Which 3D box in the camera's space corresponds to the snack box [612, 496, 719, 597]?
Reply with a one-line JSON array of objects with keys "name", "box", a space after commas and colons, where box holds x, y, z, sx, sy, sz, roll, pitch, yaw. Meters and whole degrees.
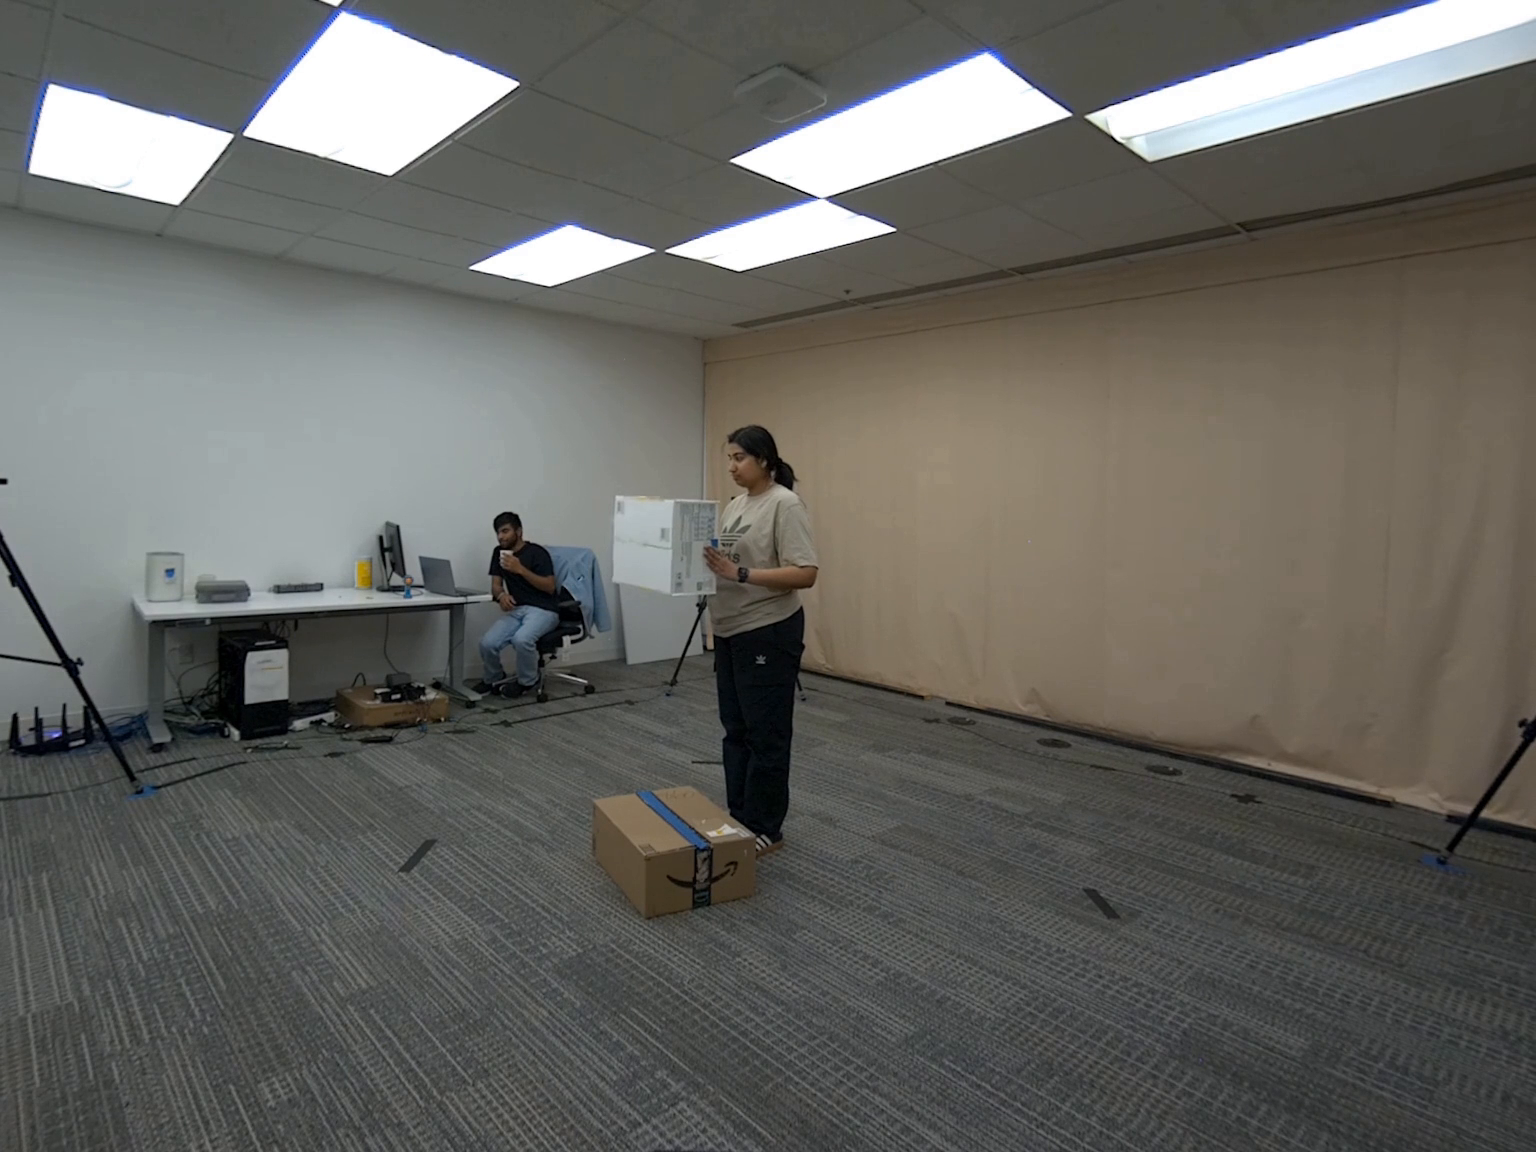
[{"name": "snack box", "box": [-0.395, -0.115, 3.147, 0.201, 0.339, 0.416, -2, 6, -40]}]
